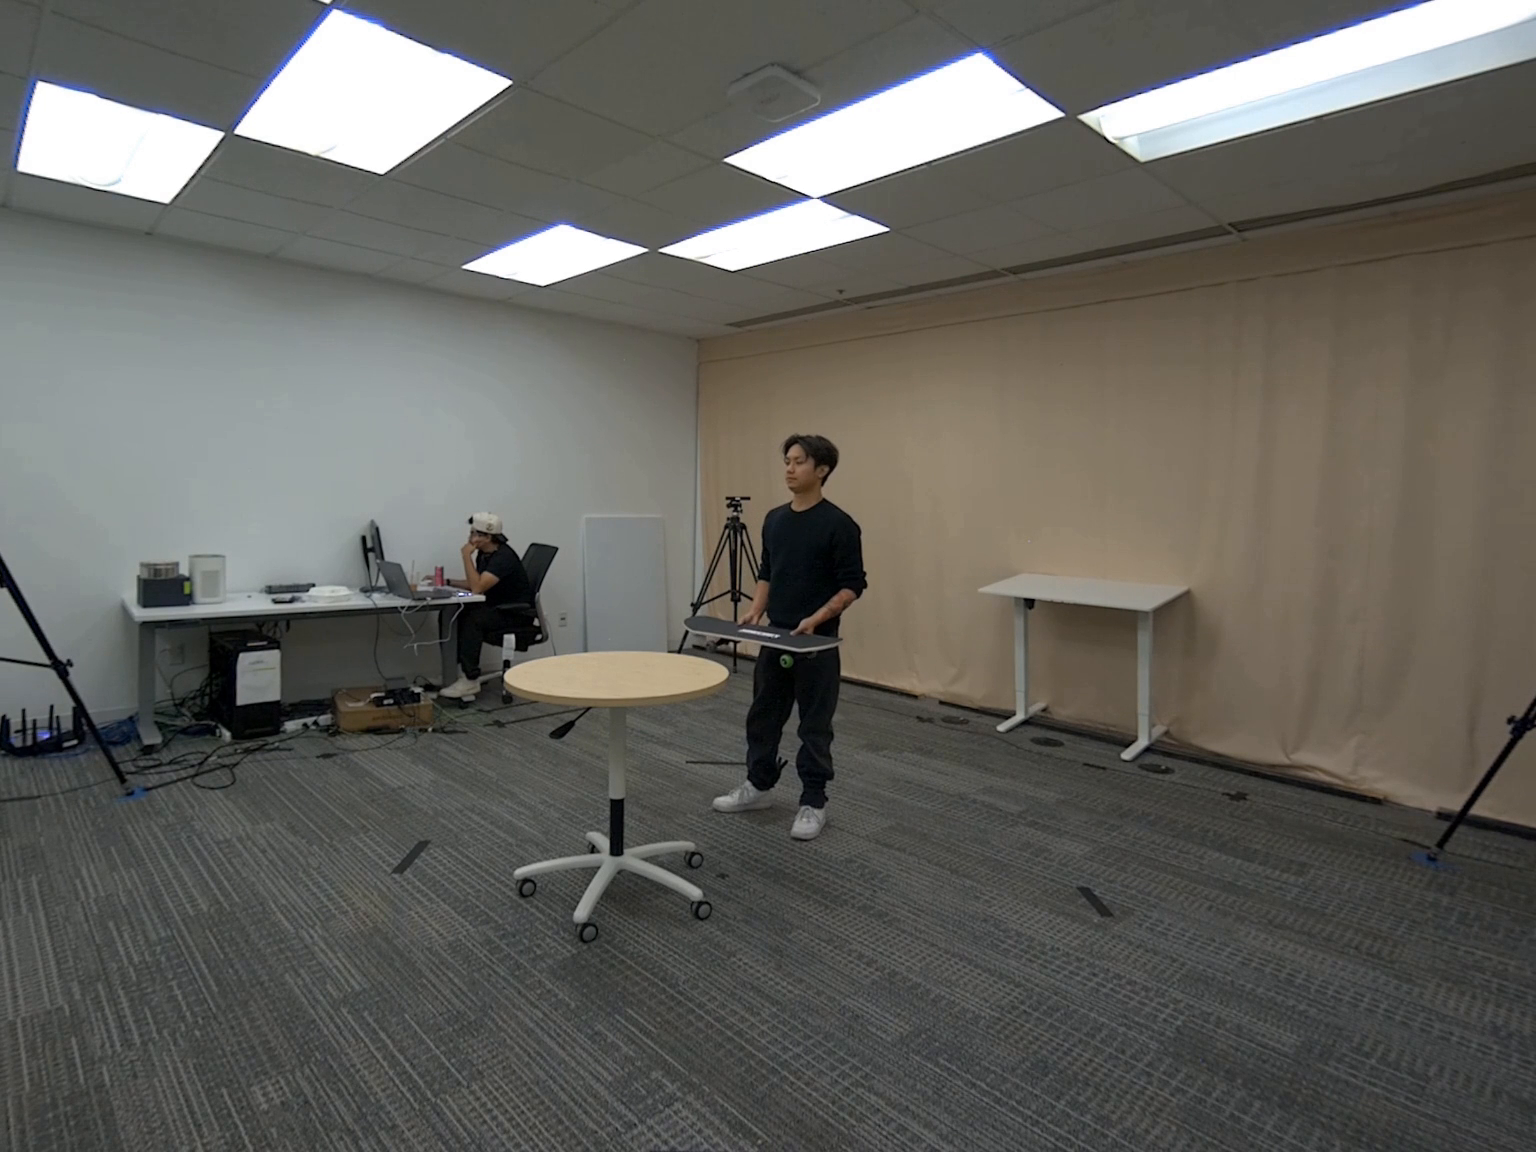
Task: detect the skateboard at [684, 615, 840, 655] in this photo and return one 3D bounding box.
[{"bbox_3d":[-0.052,0.264,3.380,0.806,0.109,0.190,6,14,41],"label":"skateboard"}]
